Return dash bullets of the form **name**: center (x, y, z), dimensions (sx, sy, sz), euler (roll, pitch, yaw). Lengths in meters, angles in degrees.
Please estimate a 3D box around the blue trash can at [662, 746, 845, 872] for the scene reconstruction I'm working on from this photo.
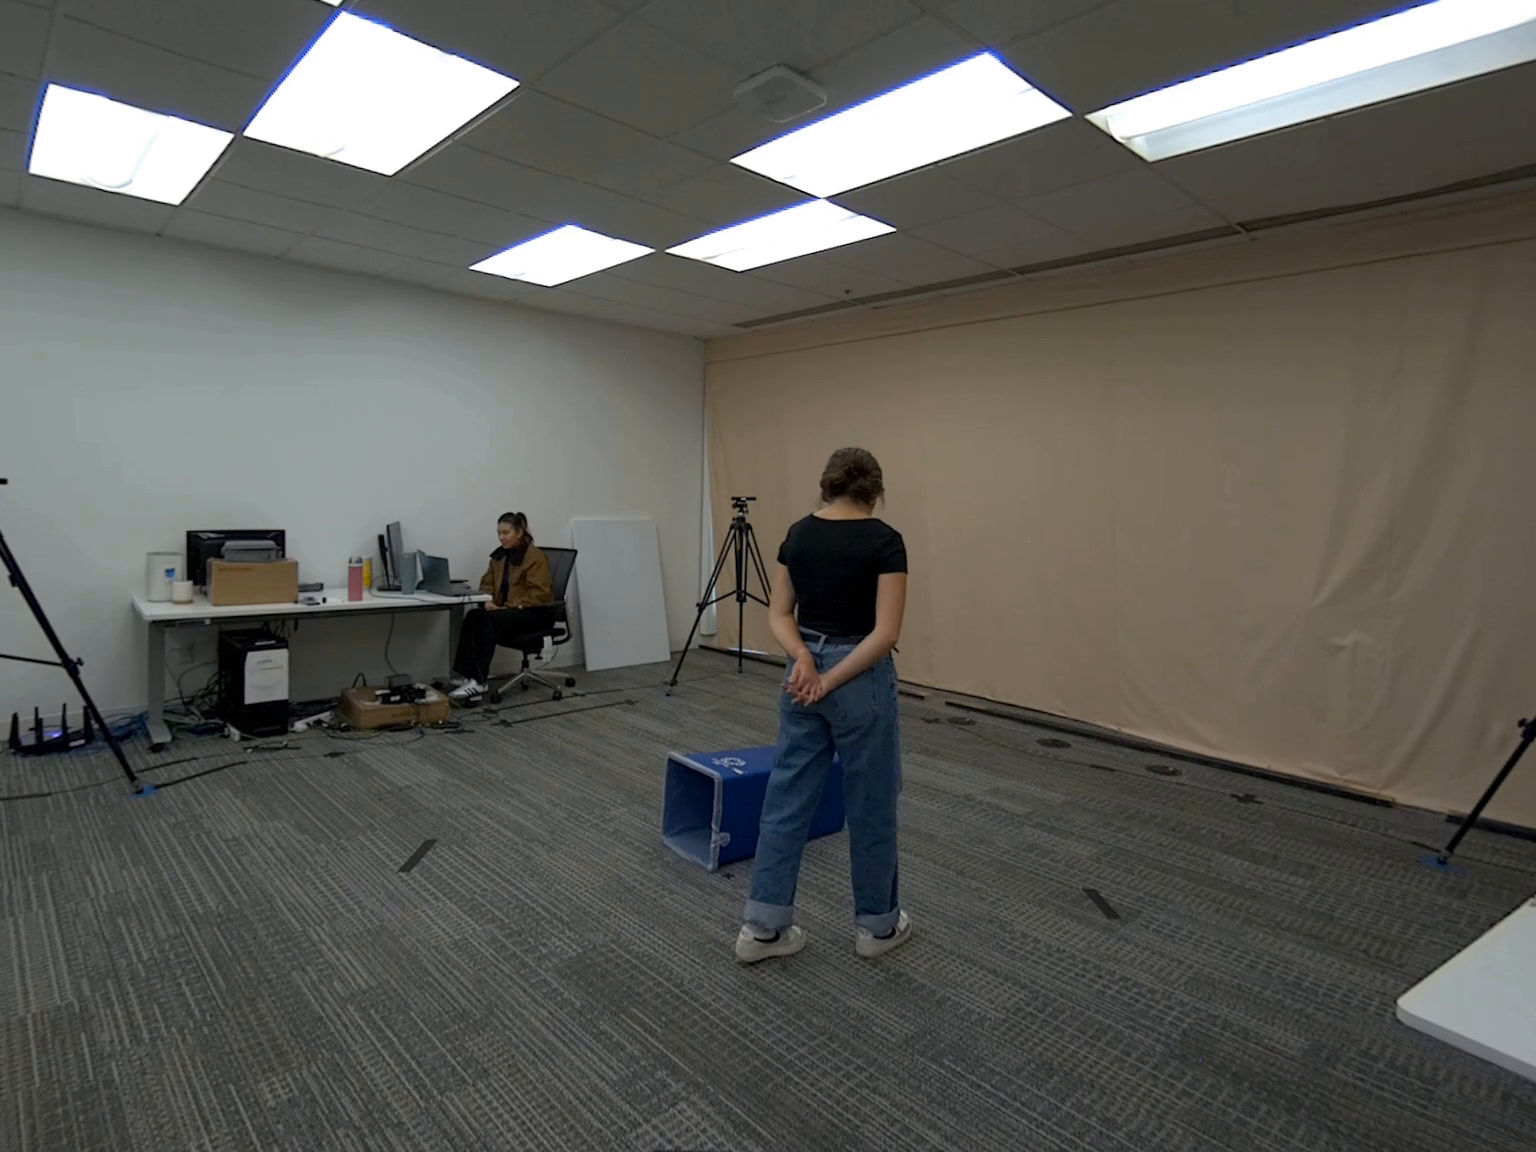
- **blue trash can**: center (-0.047, 0.910, 3.467), dimensions (0.696, 0.378, 0.383), euler (2, 2, -39)
